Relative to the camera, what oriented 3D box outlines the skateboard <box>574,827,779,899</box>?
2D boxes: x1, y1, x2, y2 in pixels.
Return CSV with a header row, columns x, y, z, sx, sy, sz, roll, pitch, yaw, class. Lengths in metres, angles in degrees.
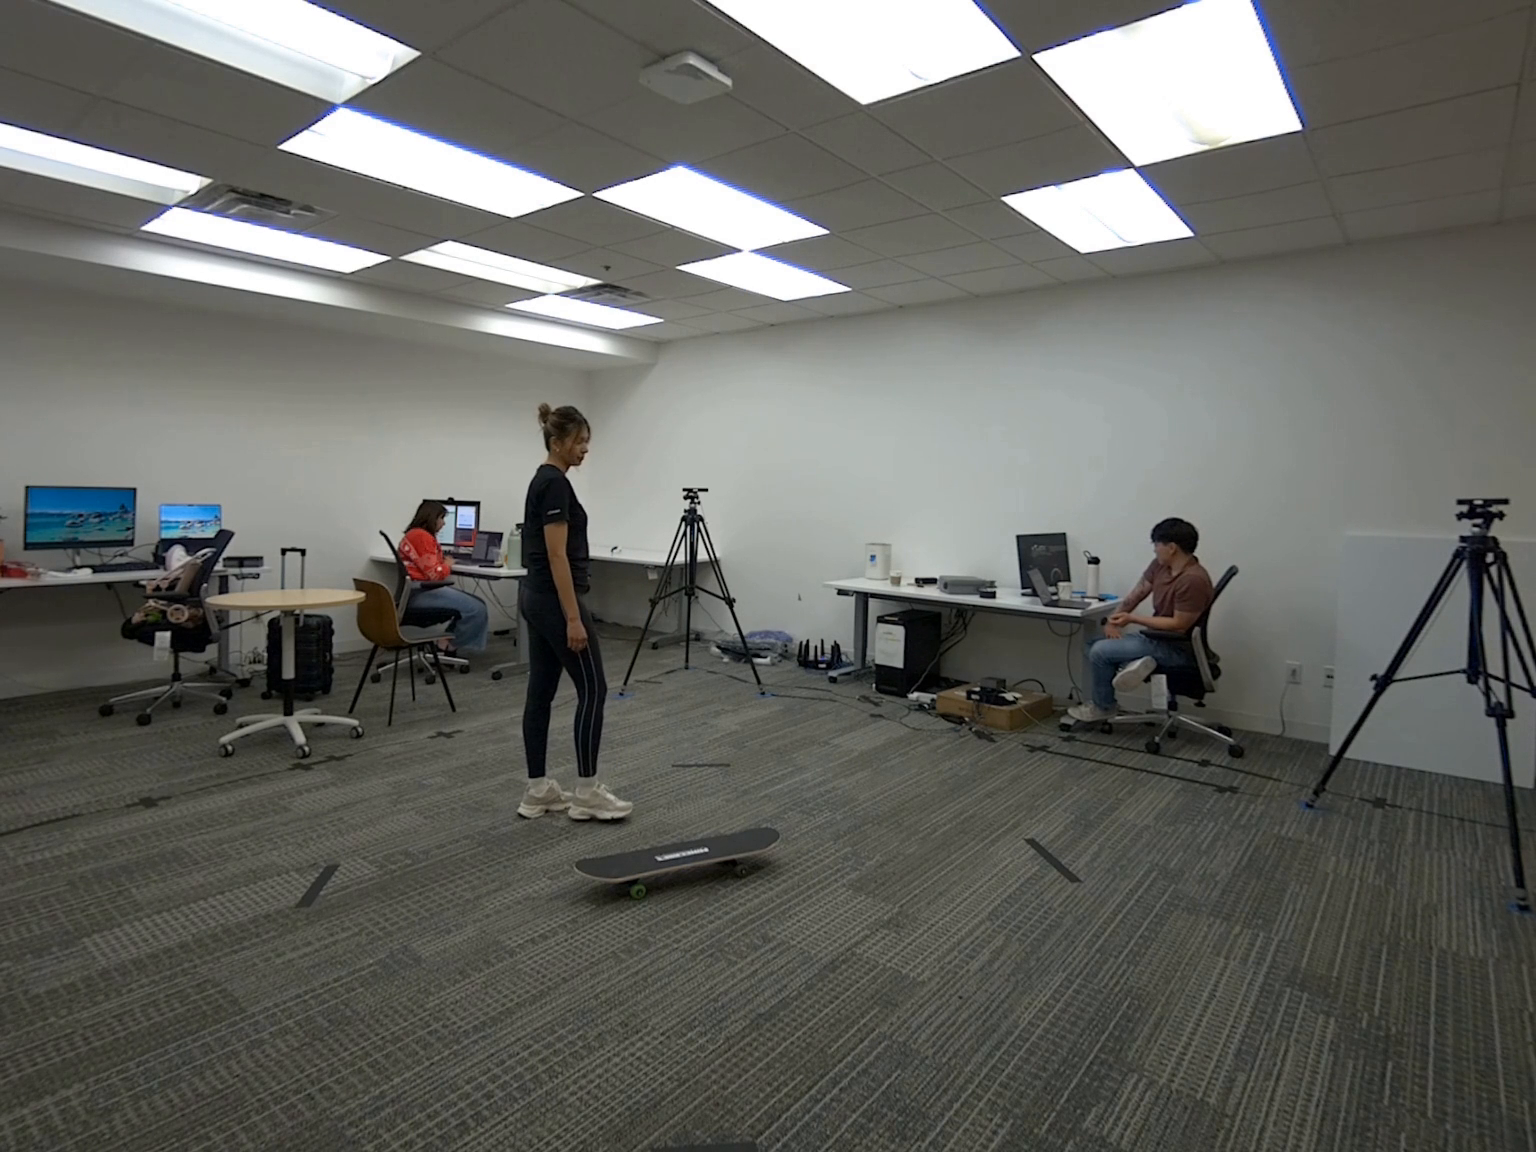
x,y,z,sx,sy,sz,roll,pitch,yaw,class
-0.314,1.016,3.032,0.766,0.110,0.199,-2,5,-27,skateboard
